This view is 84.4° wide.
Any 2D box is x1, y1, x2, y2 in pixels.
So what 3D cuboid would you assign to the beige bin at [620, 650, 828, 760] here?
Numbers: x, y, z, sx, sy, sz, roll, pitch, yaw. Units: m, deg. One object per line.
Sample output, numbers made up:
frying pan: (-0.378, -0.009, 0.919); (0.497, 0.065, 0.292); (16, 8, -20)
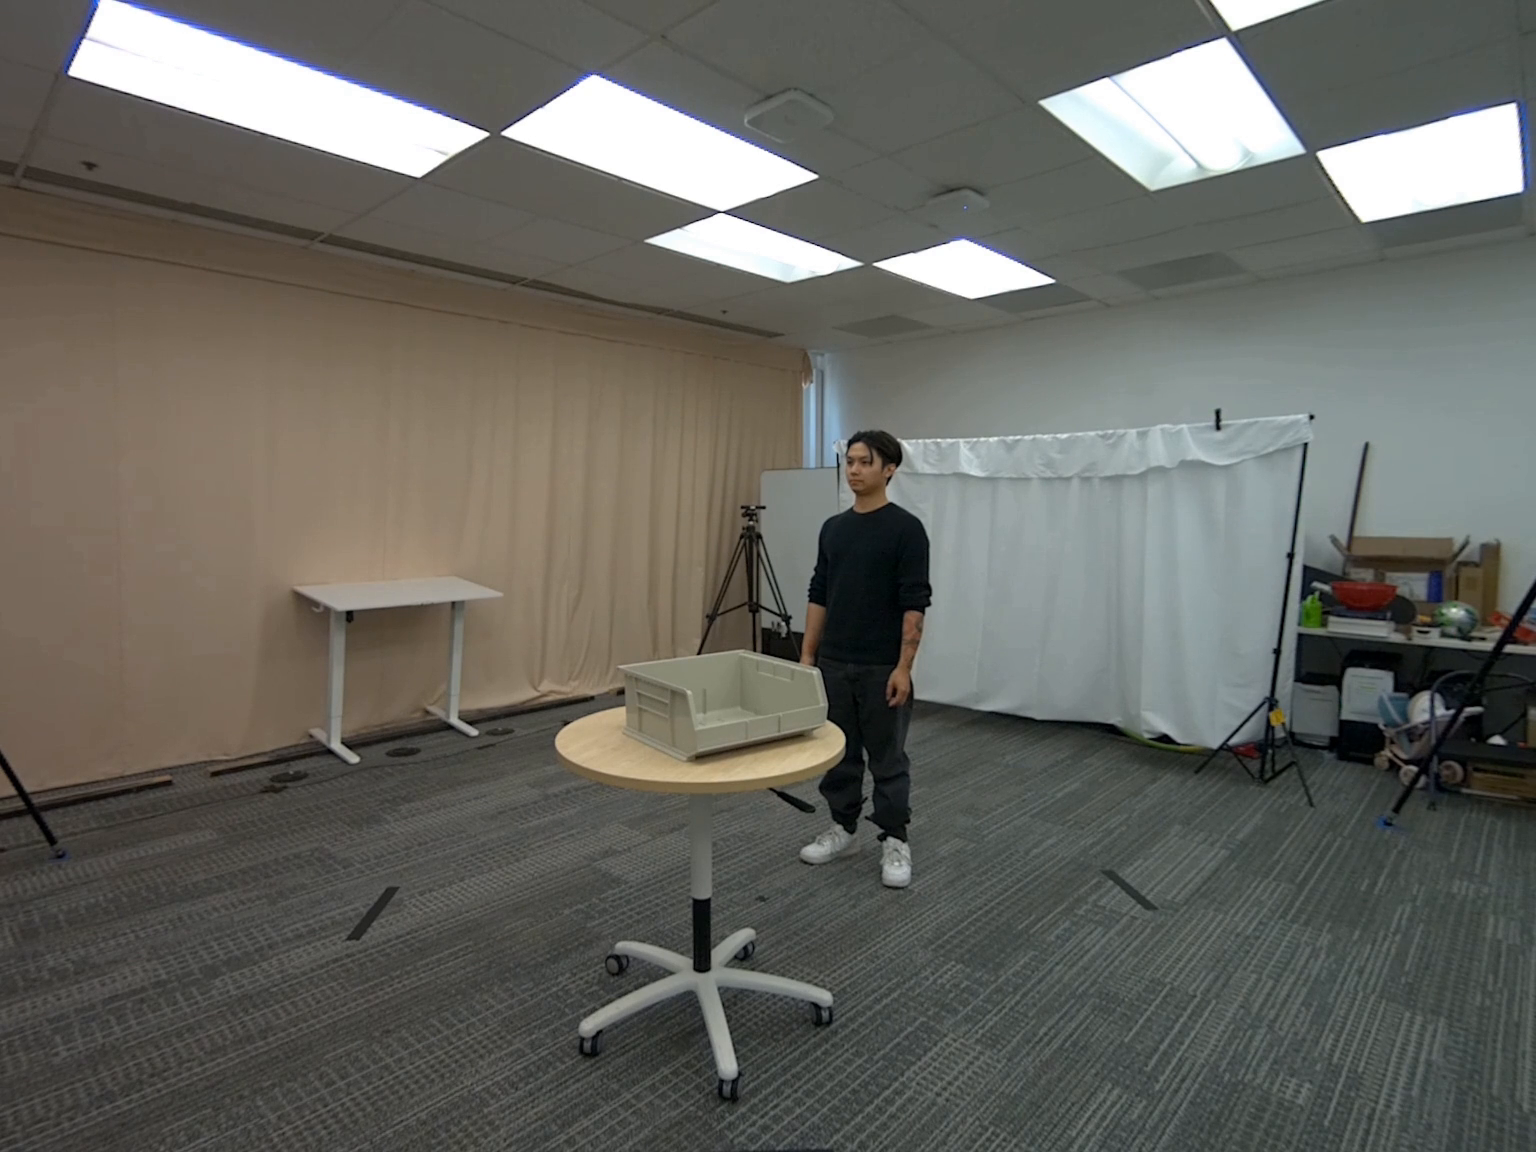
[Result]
beige bin: (-0.121, 0.334, 2.226); (0.410, 0.188, 0.389); (-4, 5, -37)
